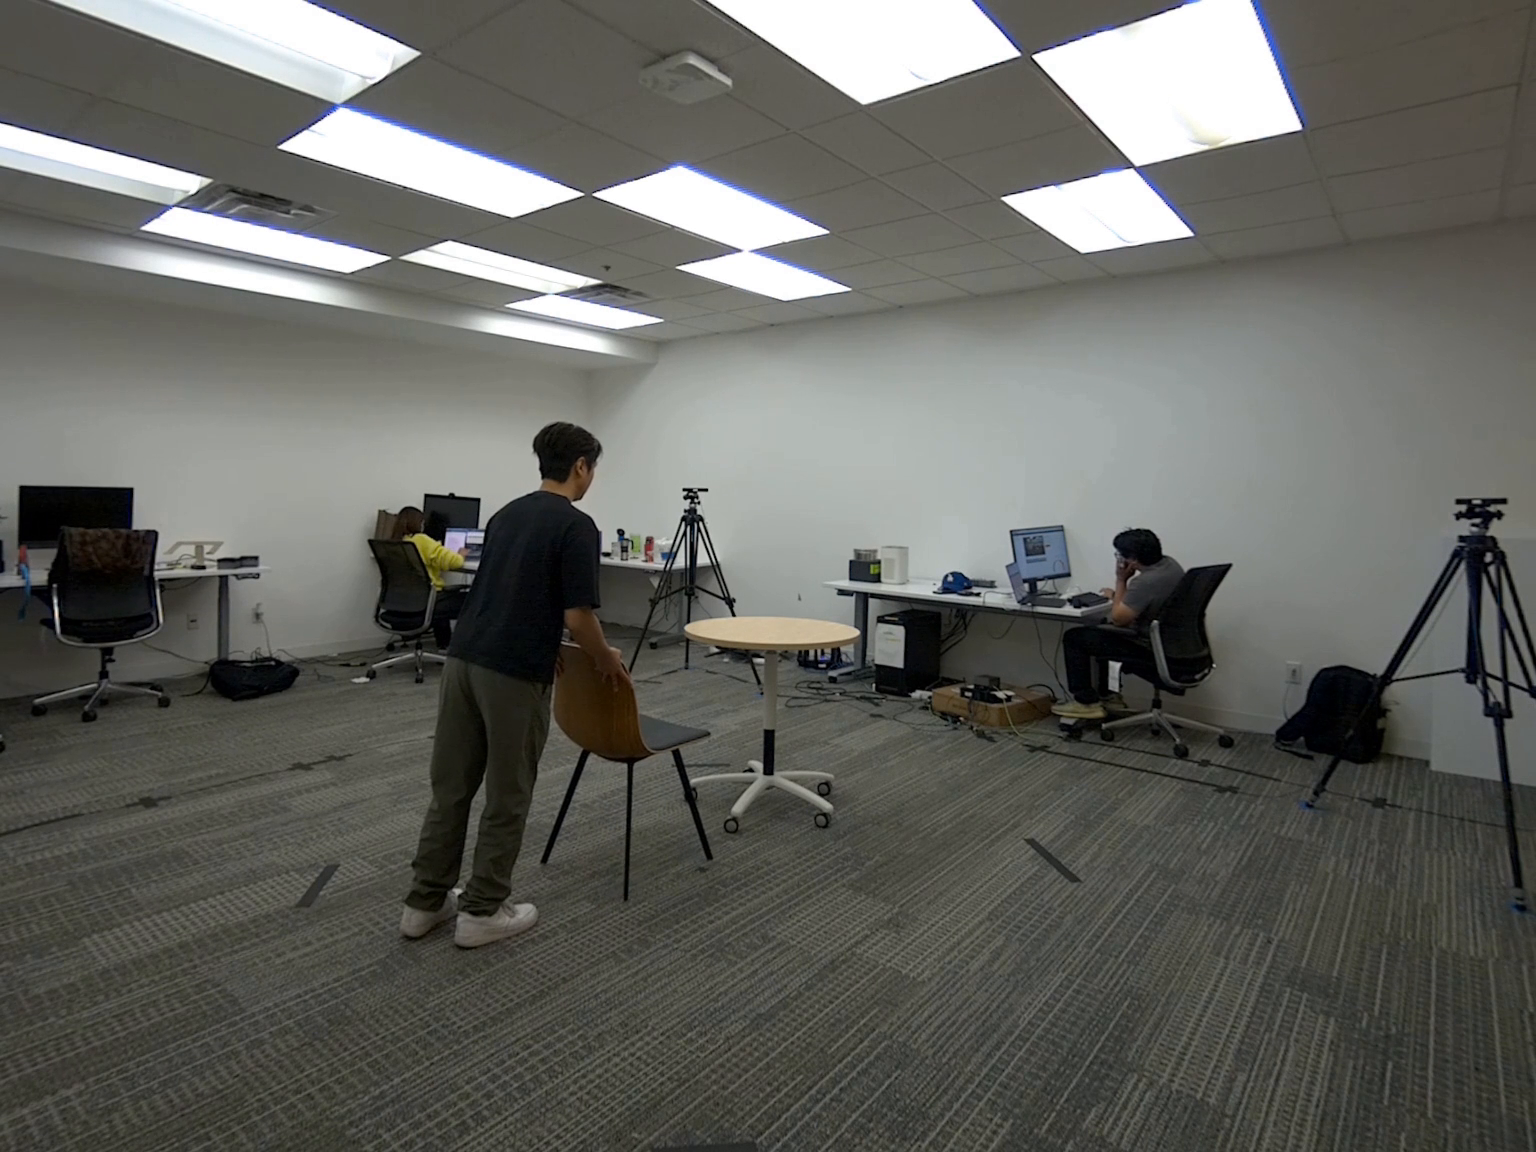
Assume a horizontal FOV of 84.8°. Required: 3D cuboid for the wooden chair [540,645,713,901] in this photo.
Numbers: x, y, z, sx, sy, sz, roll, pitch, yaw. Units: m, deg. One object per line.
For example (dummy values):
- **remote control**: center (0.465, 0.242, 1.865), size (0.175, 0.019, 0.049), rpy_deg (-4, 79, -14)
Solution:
- **wooden chair**: center (-0.519, 0.633, 3.142), size (0.494, 0.872, 0.509), rpy_deg (3, 8, 38)
